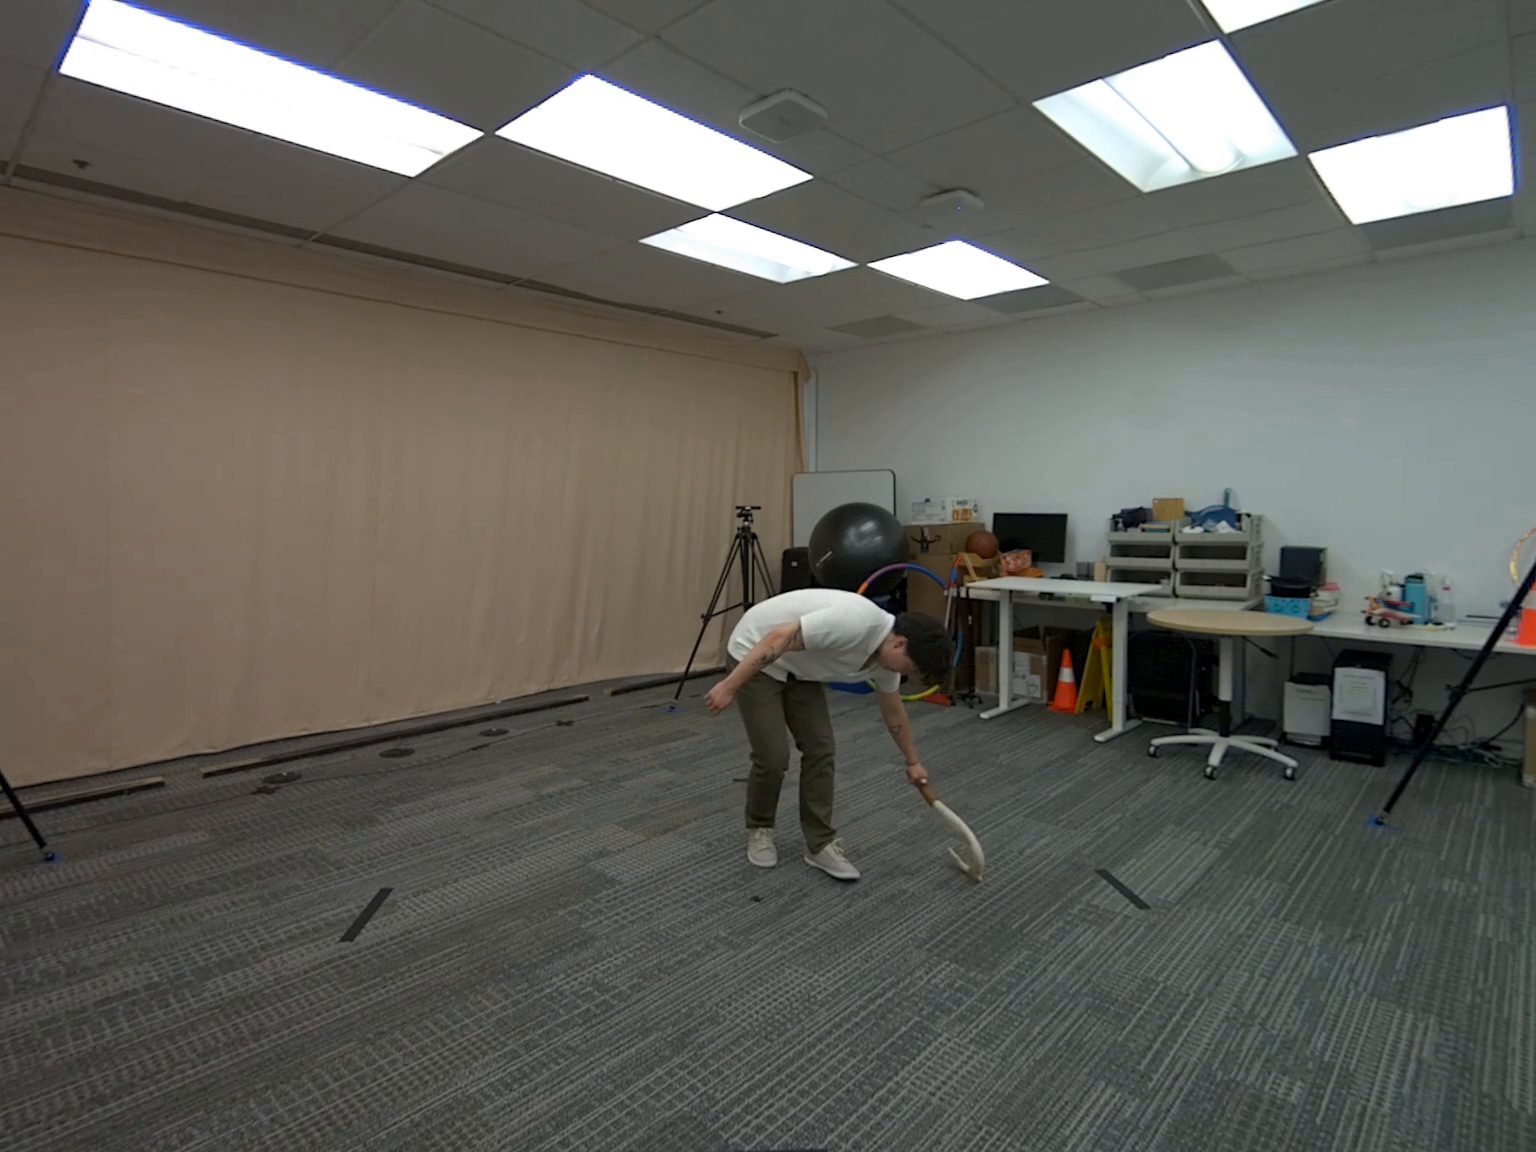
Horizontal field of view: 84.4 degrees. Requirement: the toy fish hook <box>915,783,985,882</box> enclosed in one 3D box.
[{"bbox_3d":[0.682,0.958,3.276,0.047,0.221,0.523,-10,31,-18],"label":"toy fish hook"}]
